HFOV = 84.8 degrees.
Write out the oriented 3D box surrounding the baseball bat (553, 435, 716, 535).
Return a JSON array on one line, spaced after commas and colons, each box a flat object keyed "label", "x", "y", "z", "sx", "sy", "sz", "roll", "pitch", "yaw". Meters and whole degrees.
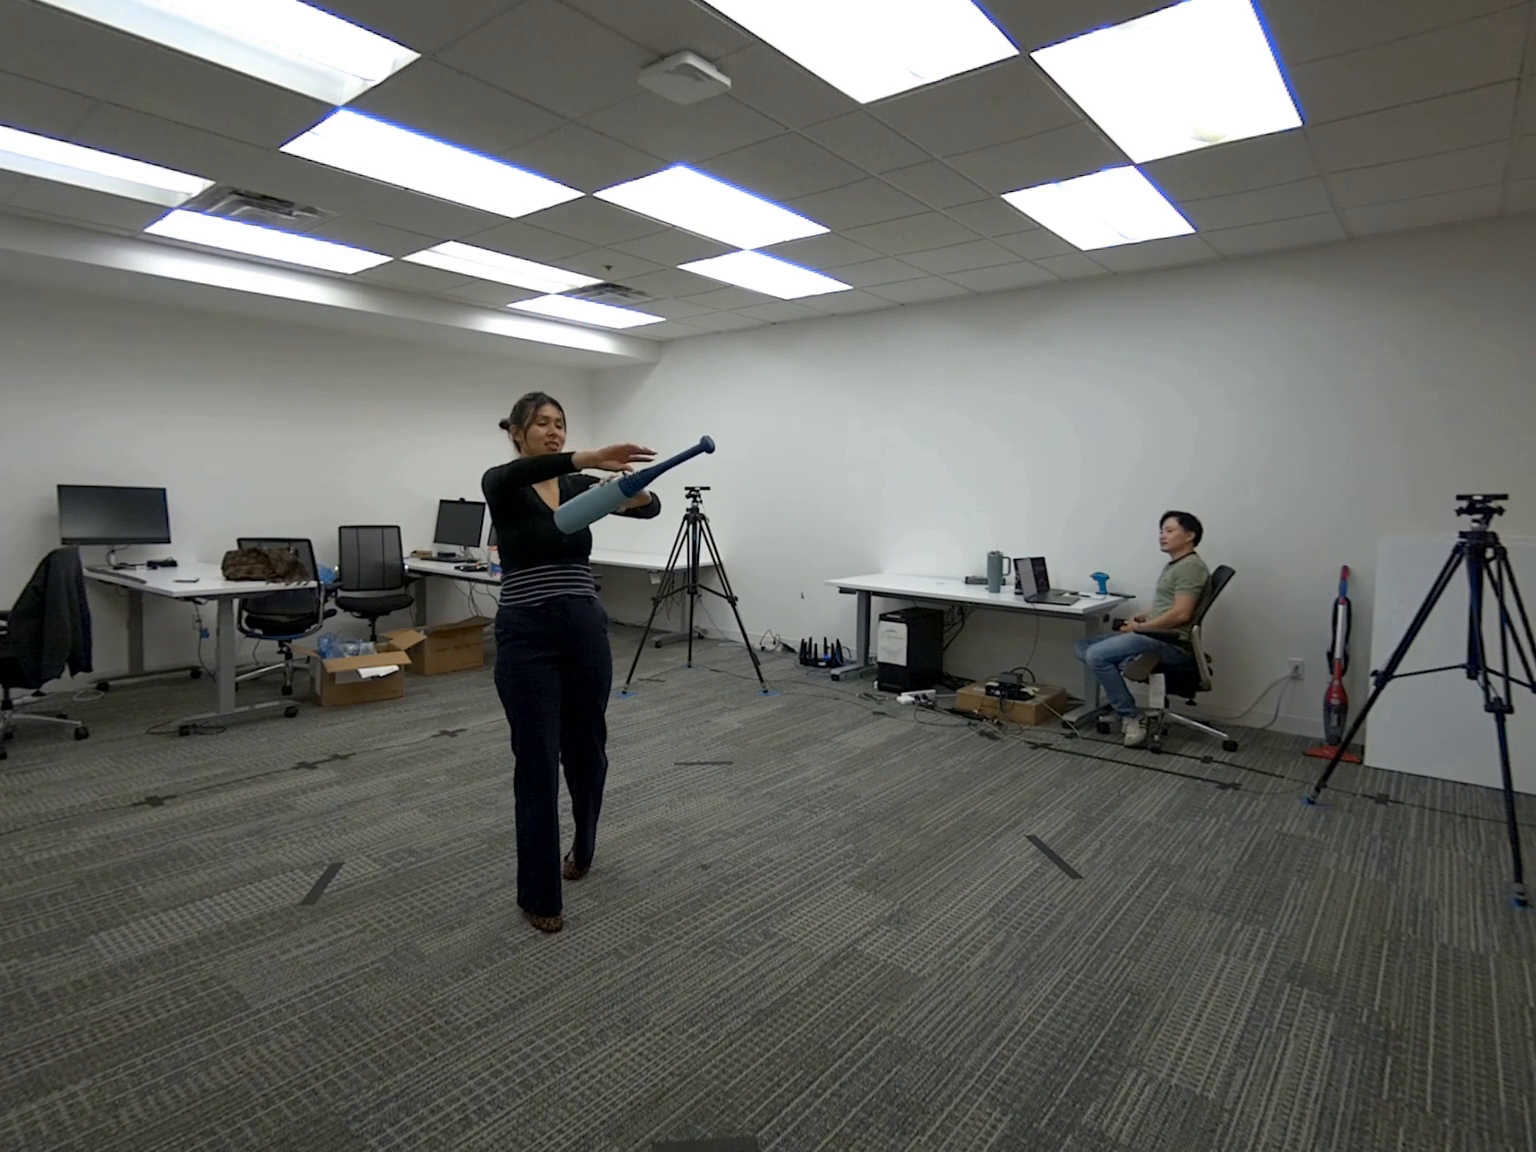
[{"label": "baseball bat", "x": -0.390, "y": -0.261, "z": 2.347, "sx": 0.551, "sy": 0.090, "sz": 0.087, "roll": -22, "pitch": -7, "yaw": 27}]
